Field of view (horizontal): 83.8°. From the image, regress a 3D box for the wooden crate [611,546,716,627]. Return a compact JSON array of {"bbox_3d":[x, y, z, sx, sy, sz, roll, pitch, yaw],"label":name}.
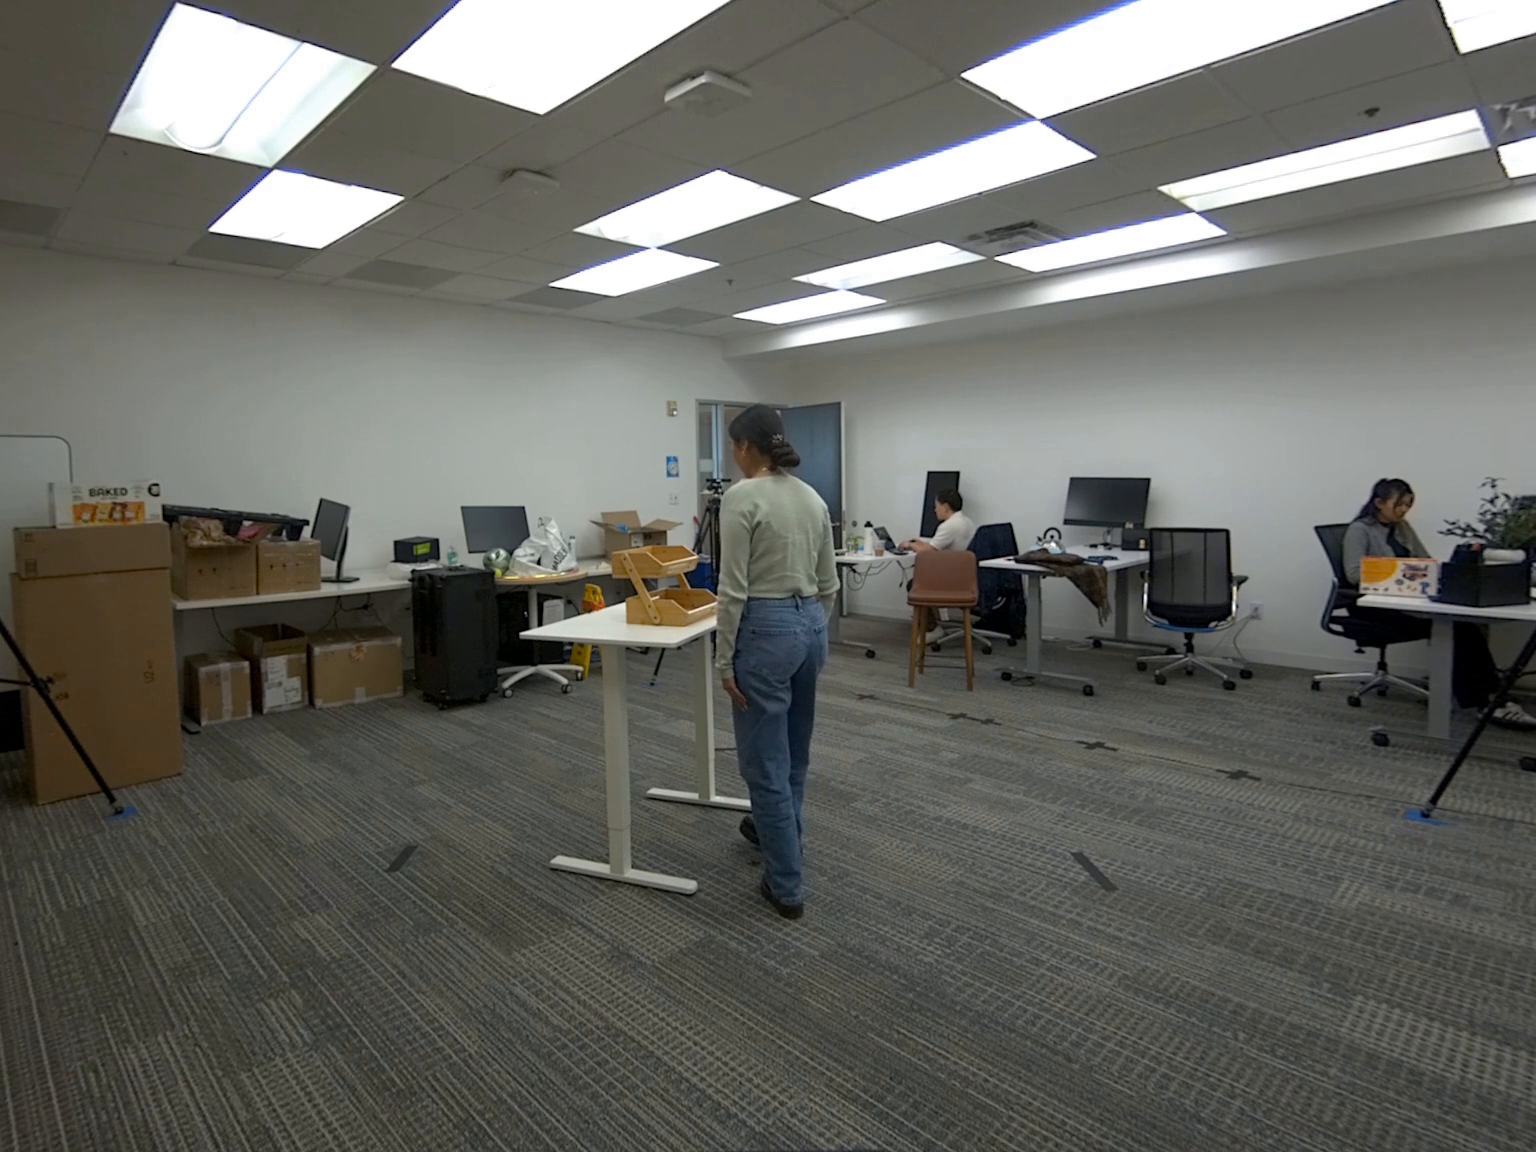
[{"bbox_3d":[-0.366,0.027,3.185,0.308,0.272,0.319,-1,5,22],"label":"wooden crate"}]
